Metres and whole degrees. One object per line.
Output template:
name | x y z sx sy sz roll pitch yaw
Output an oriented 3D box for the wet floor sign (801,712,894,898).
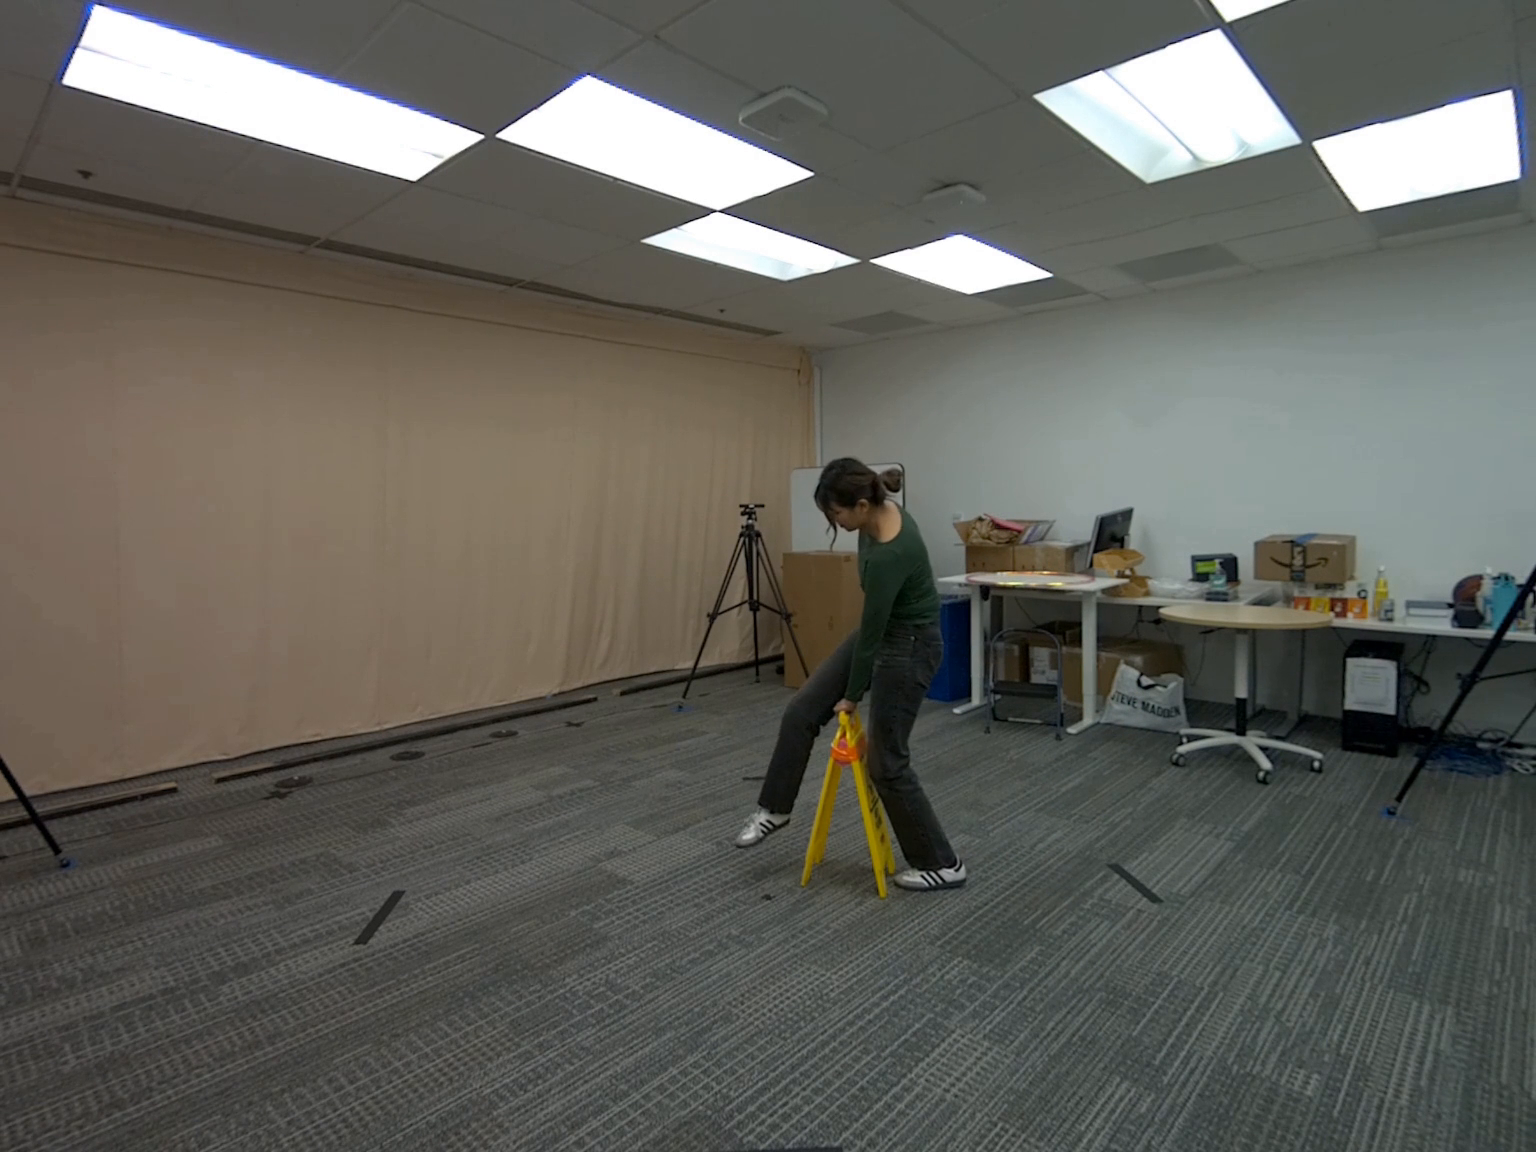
wet floor sign | 0.300 0.799 3.115 0.295 0.645 0.277 0 3 18
